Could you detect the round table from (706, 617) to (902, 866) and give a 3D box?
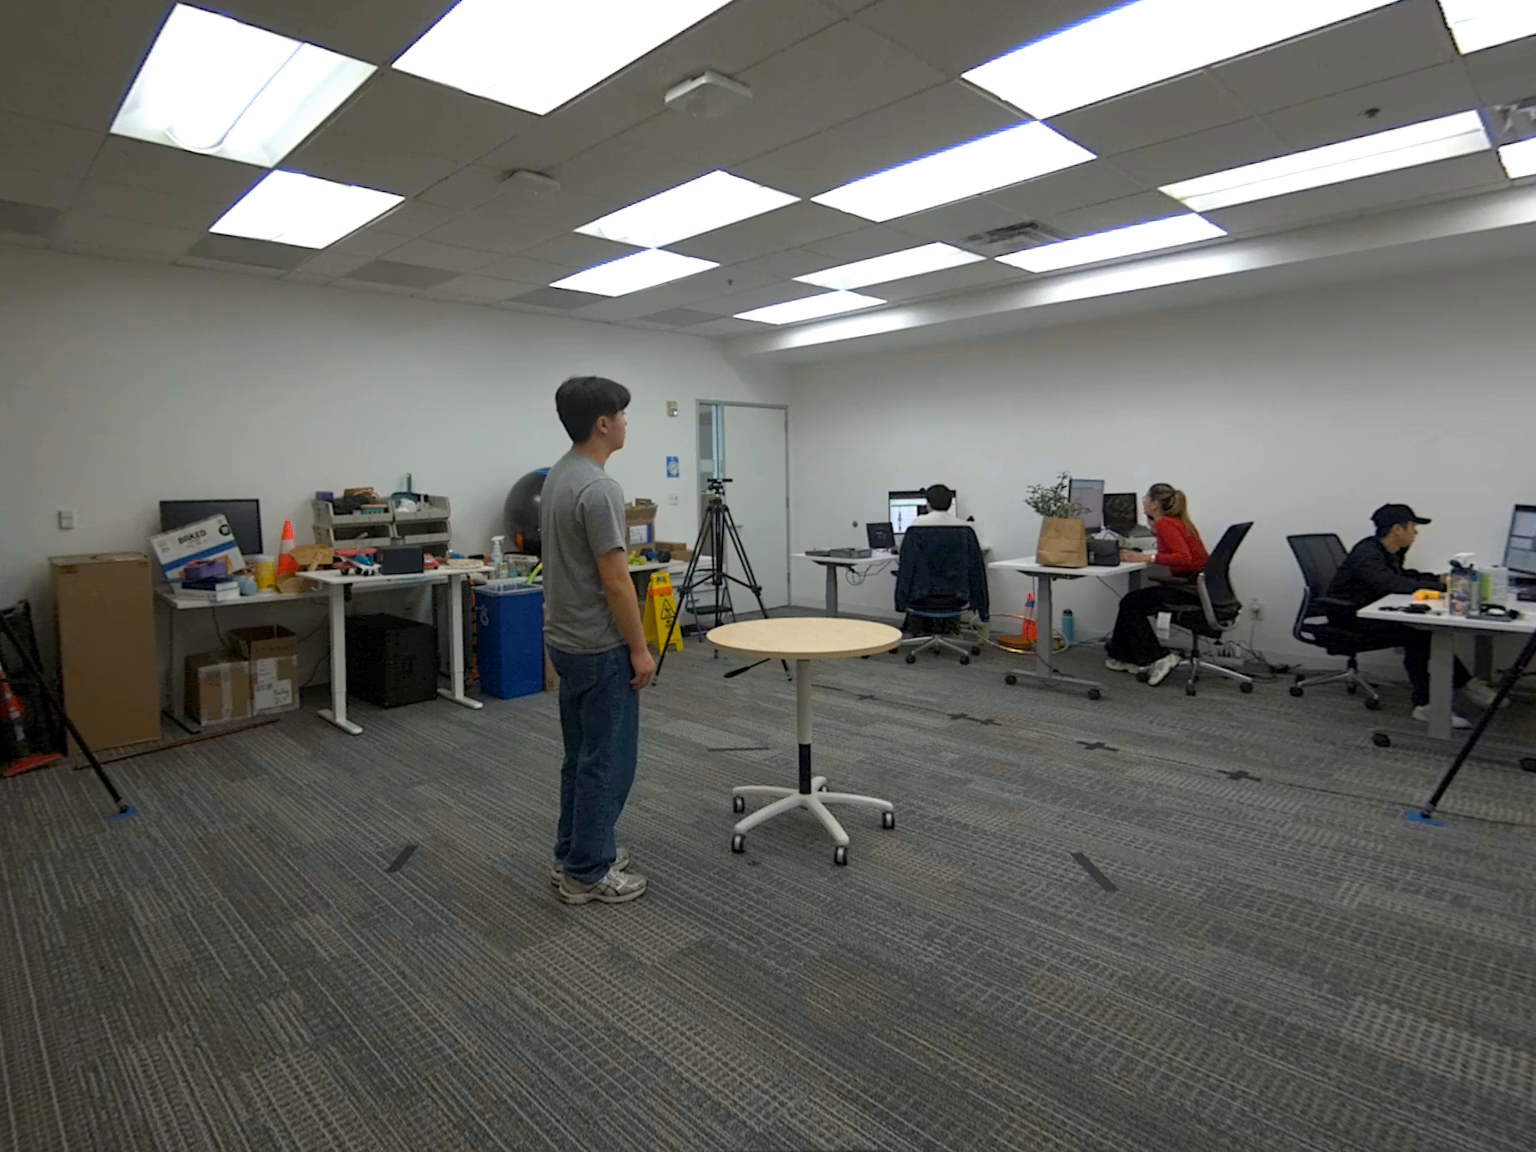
[{"bbox_3d":[0.145,0.619,3.404,0.763,0.791,0.767,-1,4,-2],"label":"round table"}]
